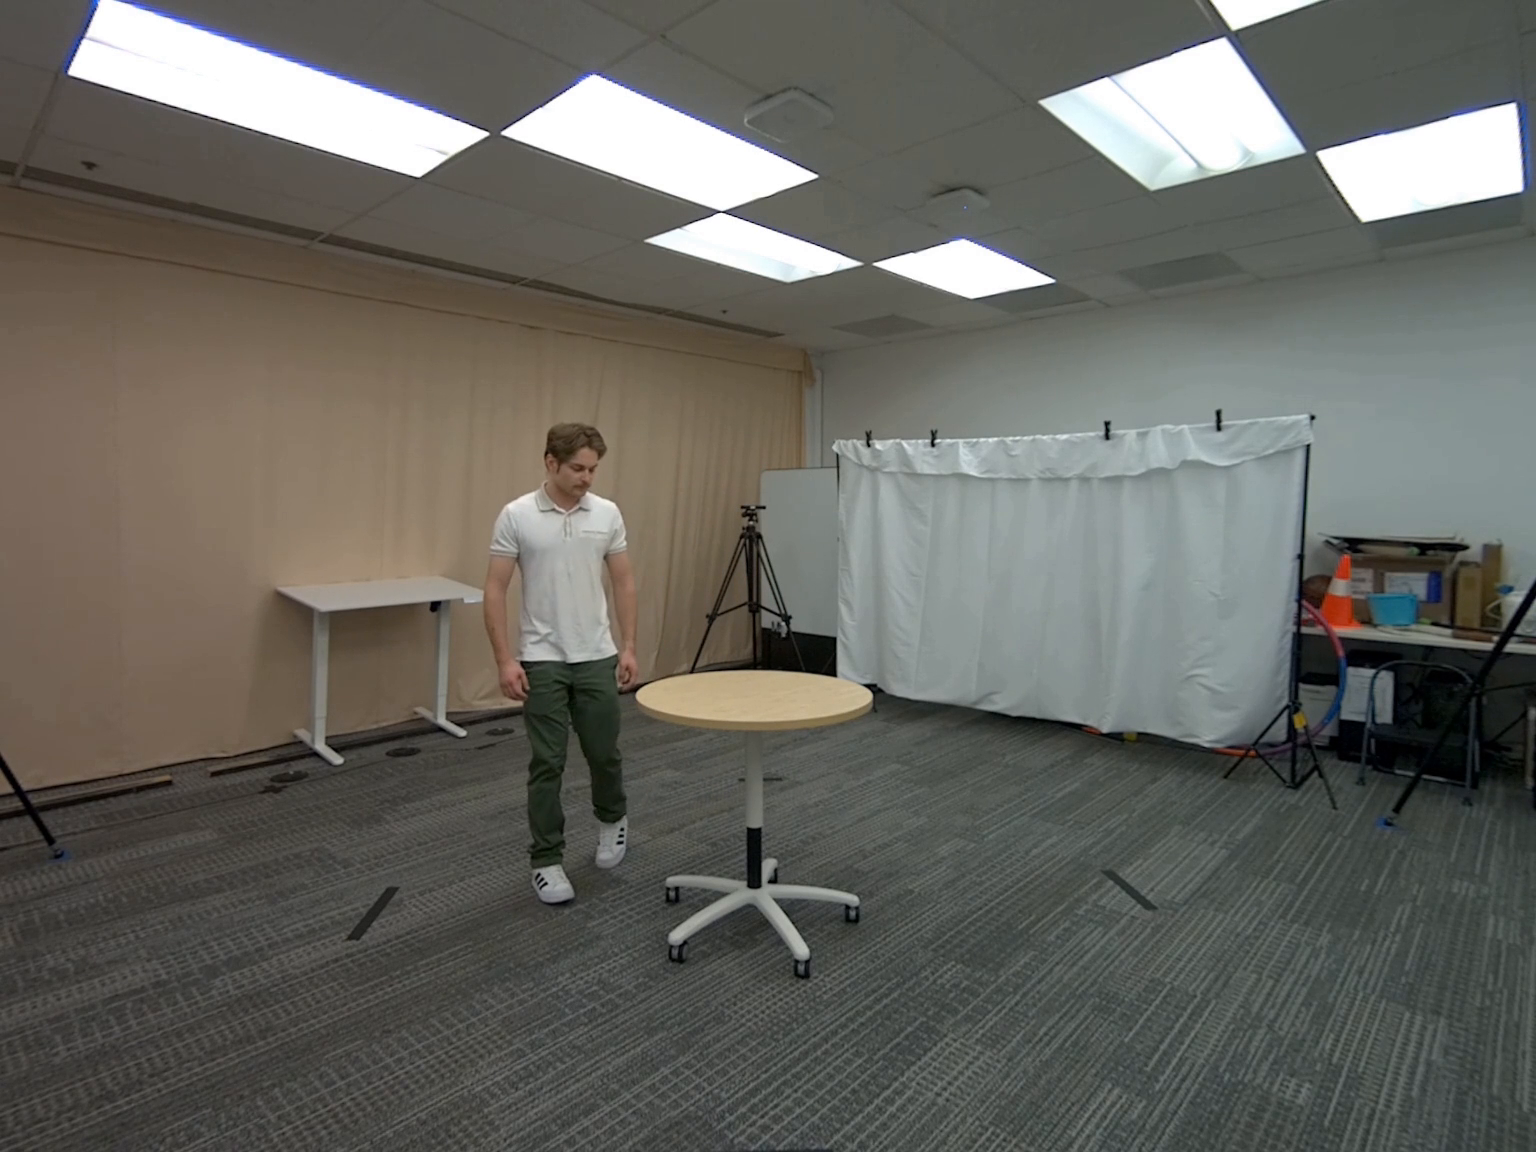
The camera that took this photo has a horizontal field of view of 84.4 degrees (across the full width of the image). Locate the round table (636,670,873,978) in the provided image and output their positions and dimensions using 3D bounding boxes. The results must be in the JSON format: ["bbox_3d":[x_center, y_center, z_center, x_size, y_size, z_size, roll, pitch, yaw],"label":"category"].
[{"bbox_3d":[-0.039,0.771,2.748,0.784,0.785,0.787,-1,3,-2],"label":"round table"}]
